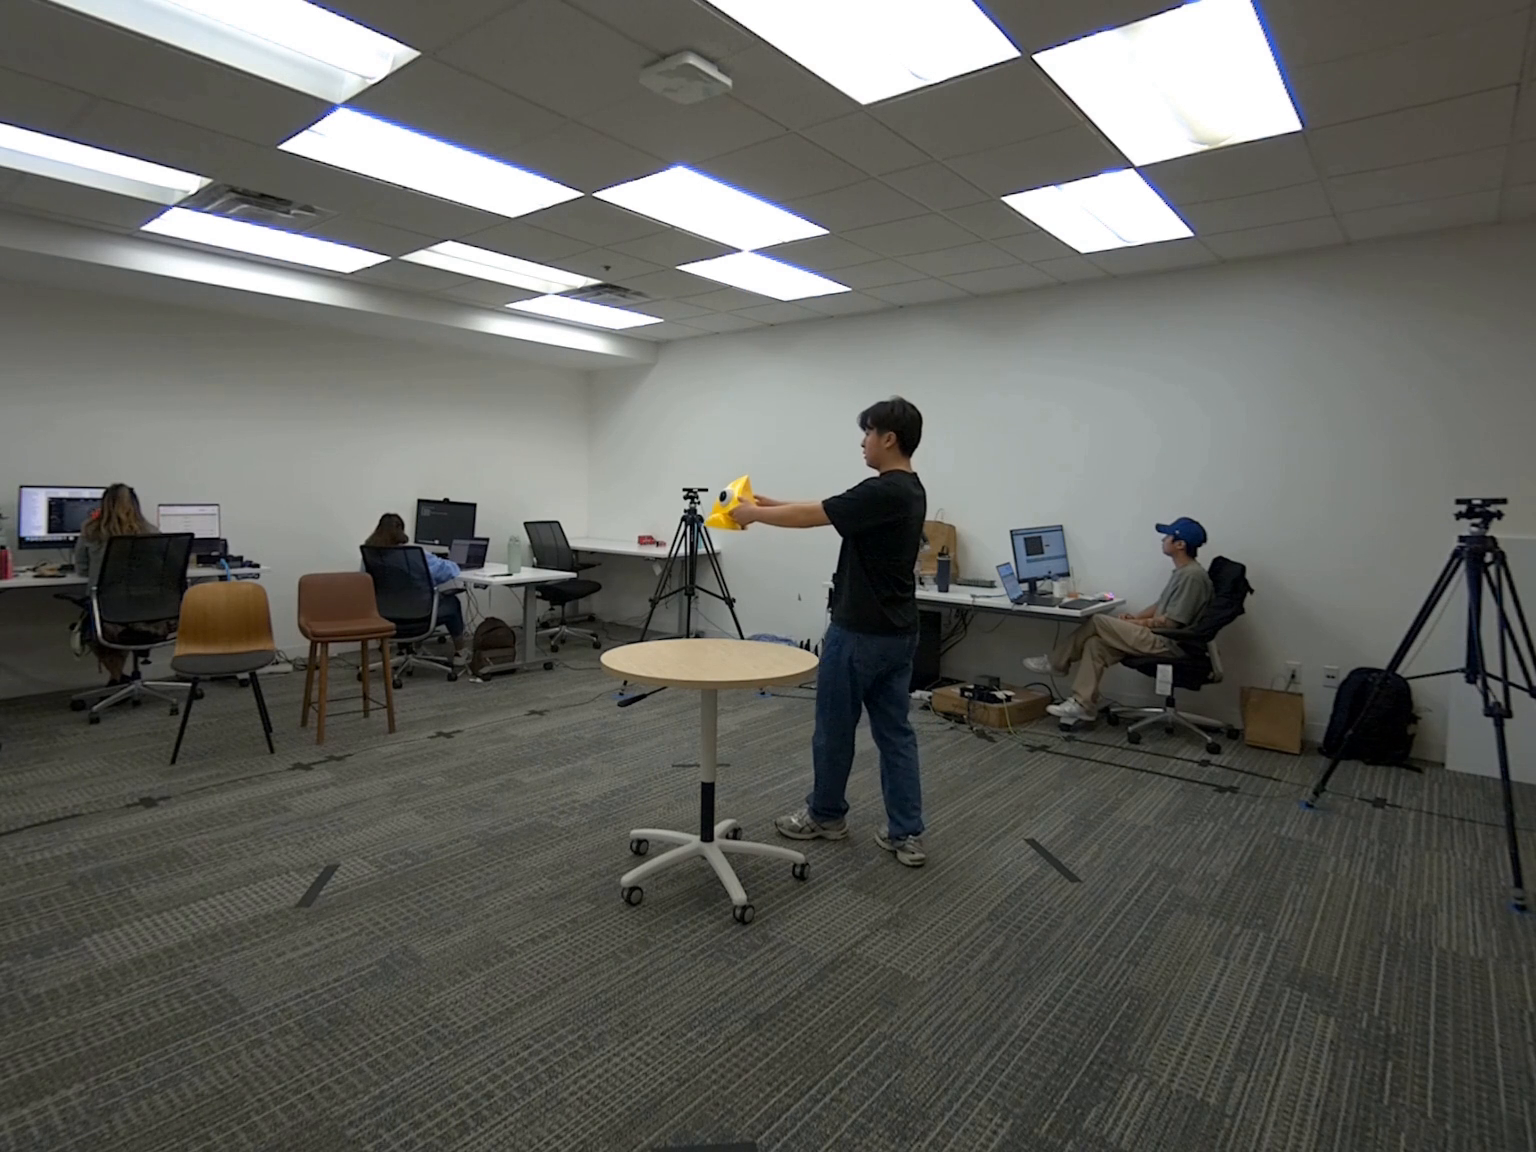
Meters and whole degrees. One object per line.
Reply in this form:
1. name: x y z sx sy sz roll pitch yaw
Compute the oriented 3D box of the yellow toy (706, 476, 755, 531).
1. yellow toy: -0.165 -0.323 3.560 0.198 0.230 0.200 9 6 23
